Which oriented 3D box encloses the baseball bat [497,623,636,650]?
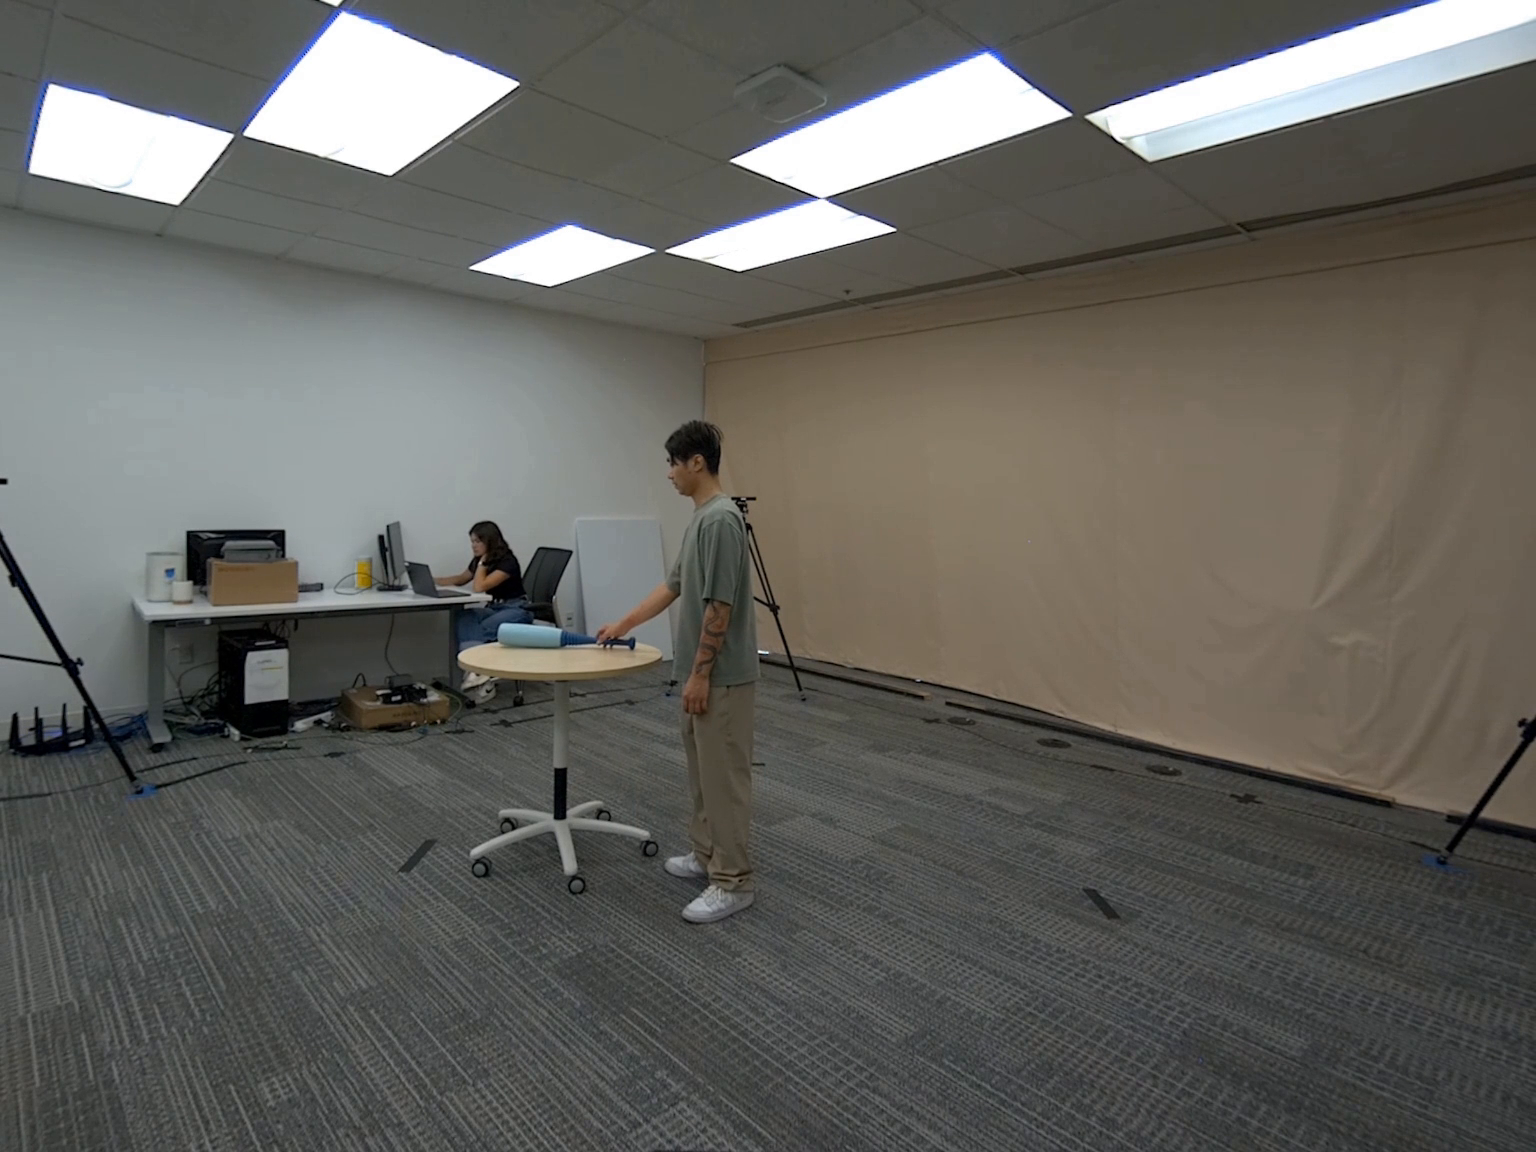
[{"bbox_3d":[-0.804,0.251,3.338,0.542,0.089,0.089,4,4,-2],"label":"baseball bat"}]
